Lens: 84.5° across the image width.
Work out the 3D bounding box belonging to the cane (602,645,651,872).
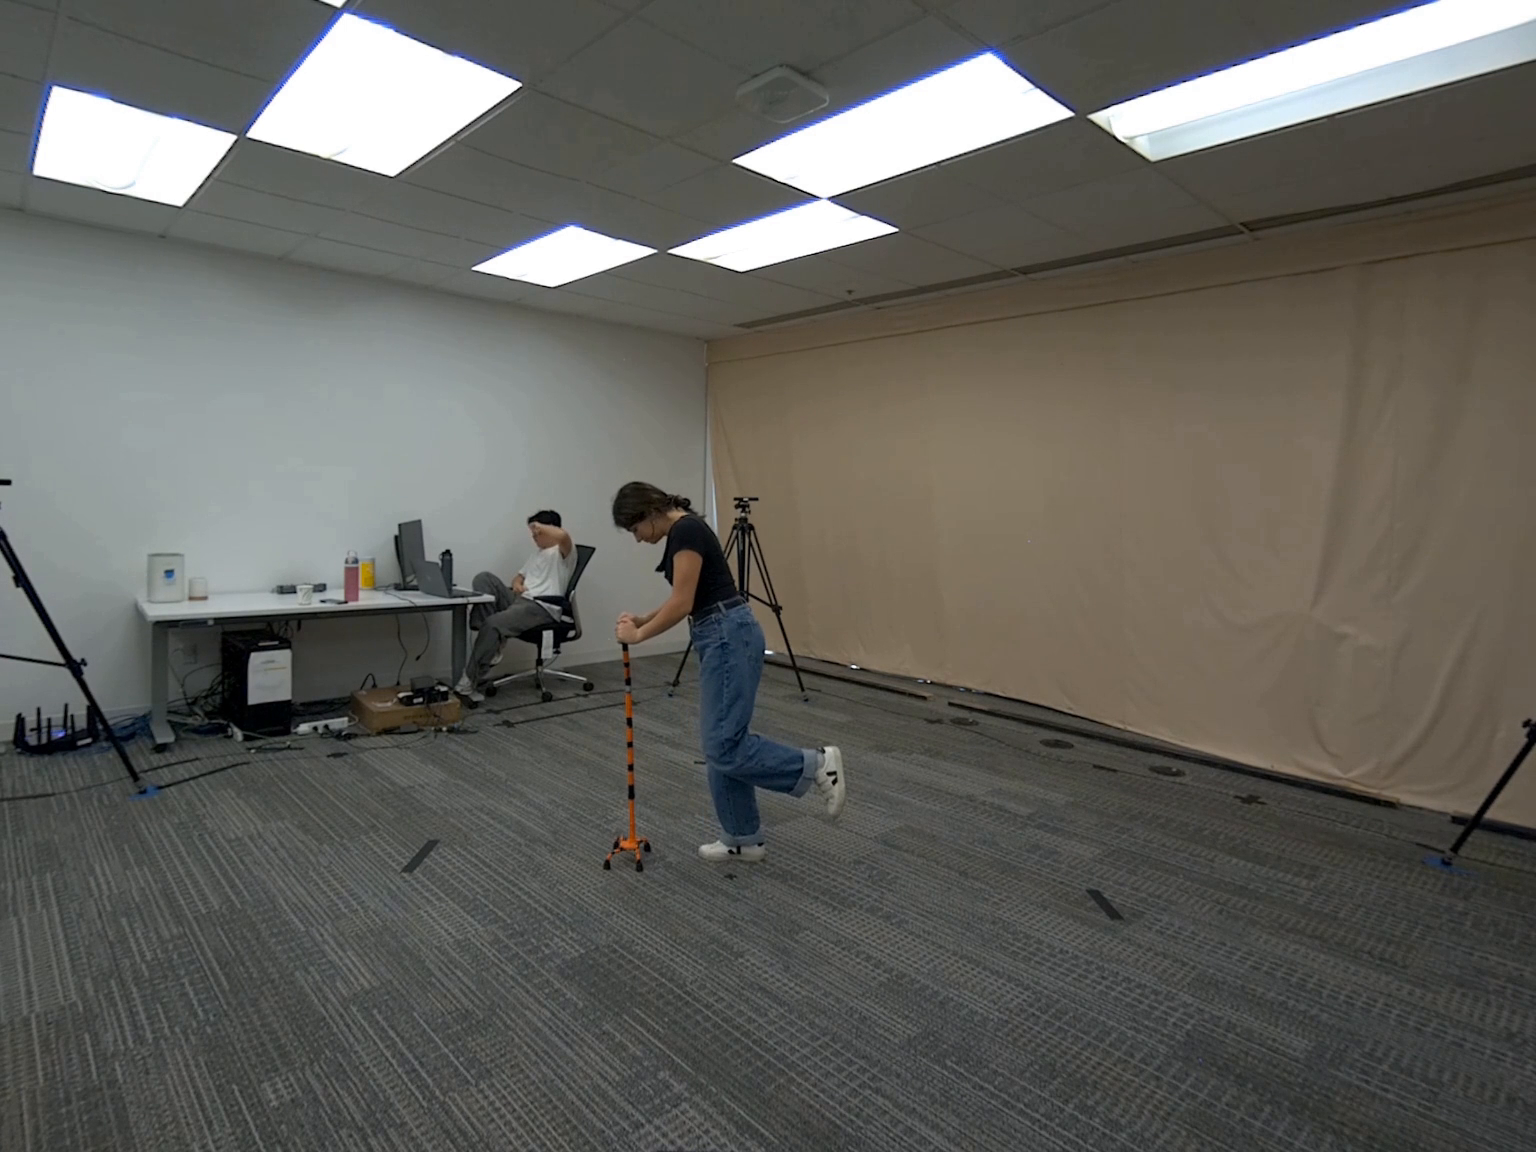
[{"bbox_3d":[-0.546,0.628,3.204,0.152,0.906,0.206,0,3,3],"label":"cane"}]
